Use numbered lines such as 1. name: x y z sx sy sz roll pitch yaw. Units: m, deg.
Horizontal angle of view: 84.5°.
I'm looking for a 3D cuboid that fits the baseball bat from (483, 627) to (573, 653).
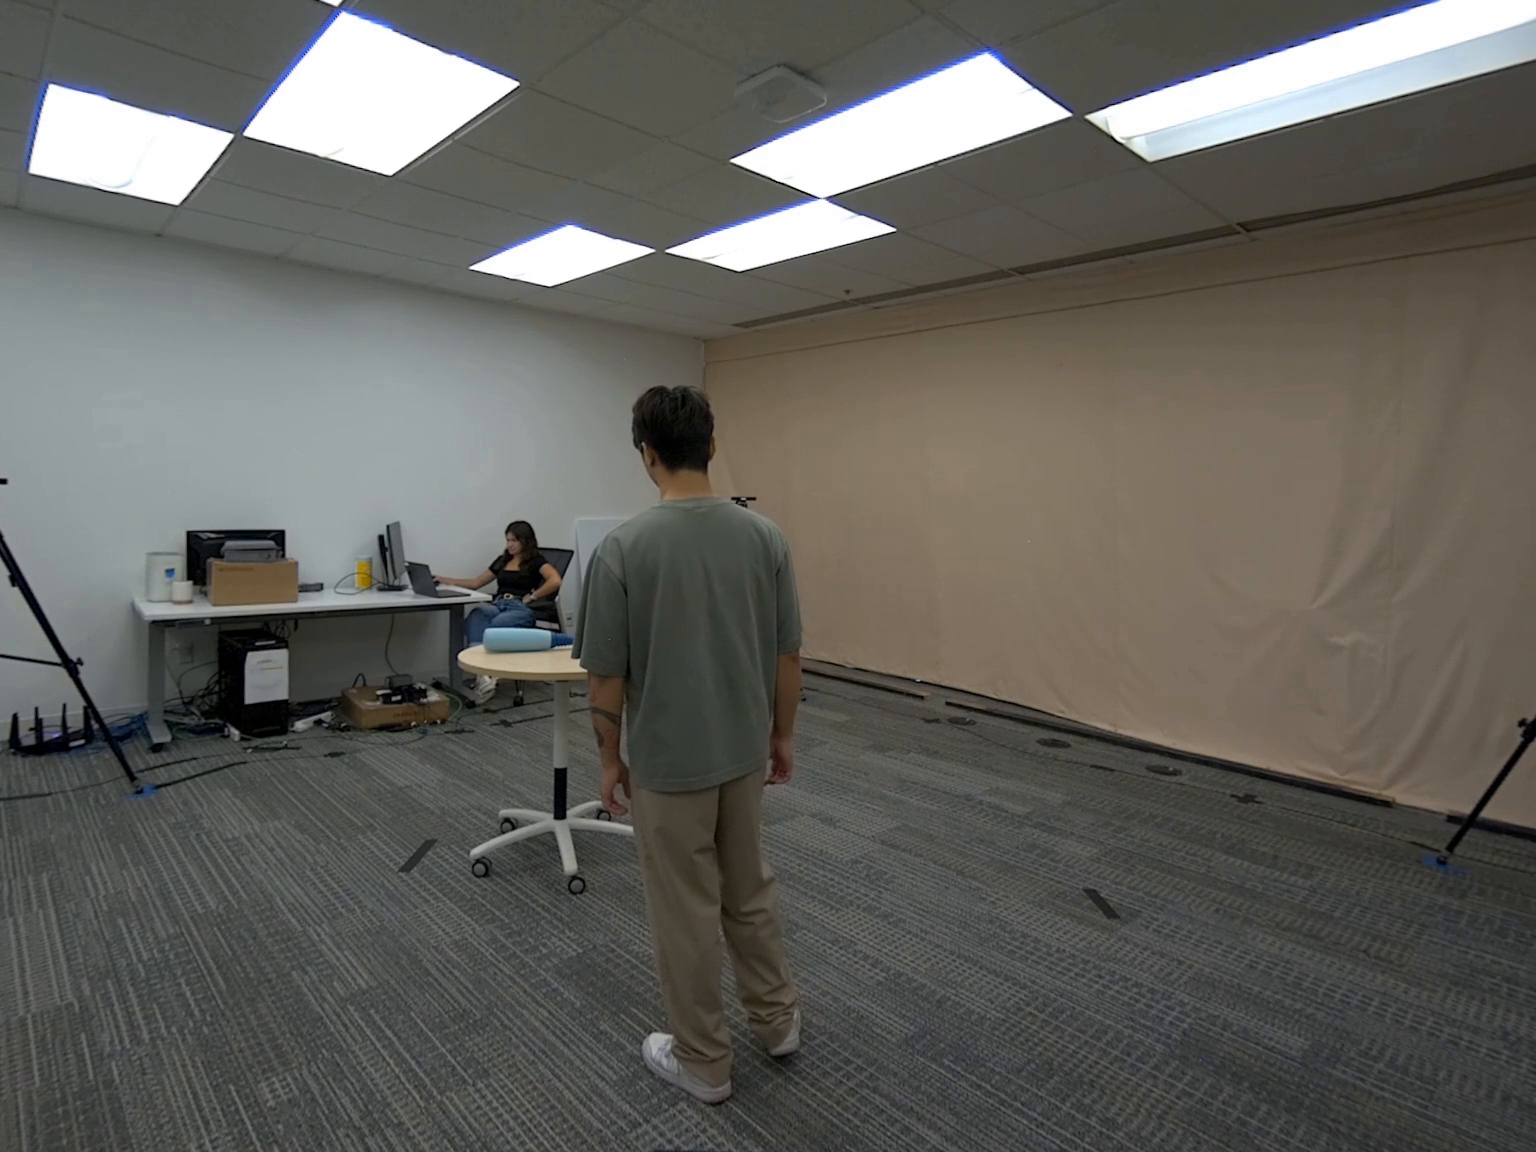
1. baseball bat: -0.827 0.254 3.276 0.536 0.089 0.090 2 4 -17
